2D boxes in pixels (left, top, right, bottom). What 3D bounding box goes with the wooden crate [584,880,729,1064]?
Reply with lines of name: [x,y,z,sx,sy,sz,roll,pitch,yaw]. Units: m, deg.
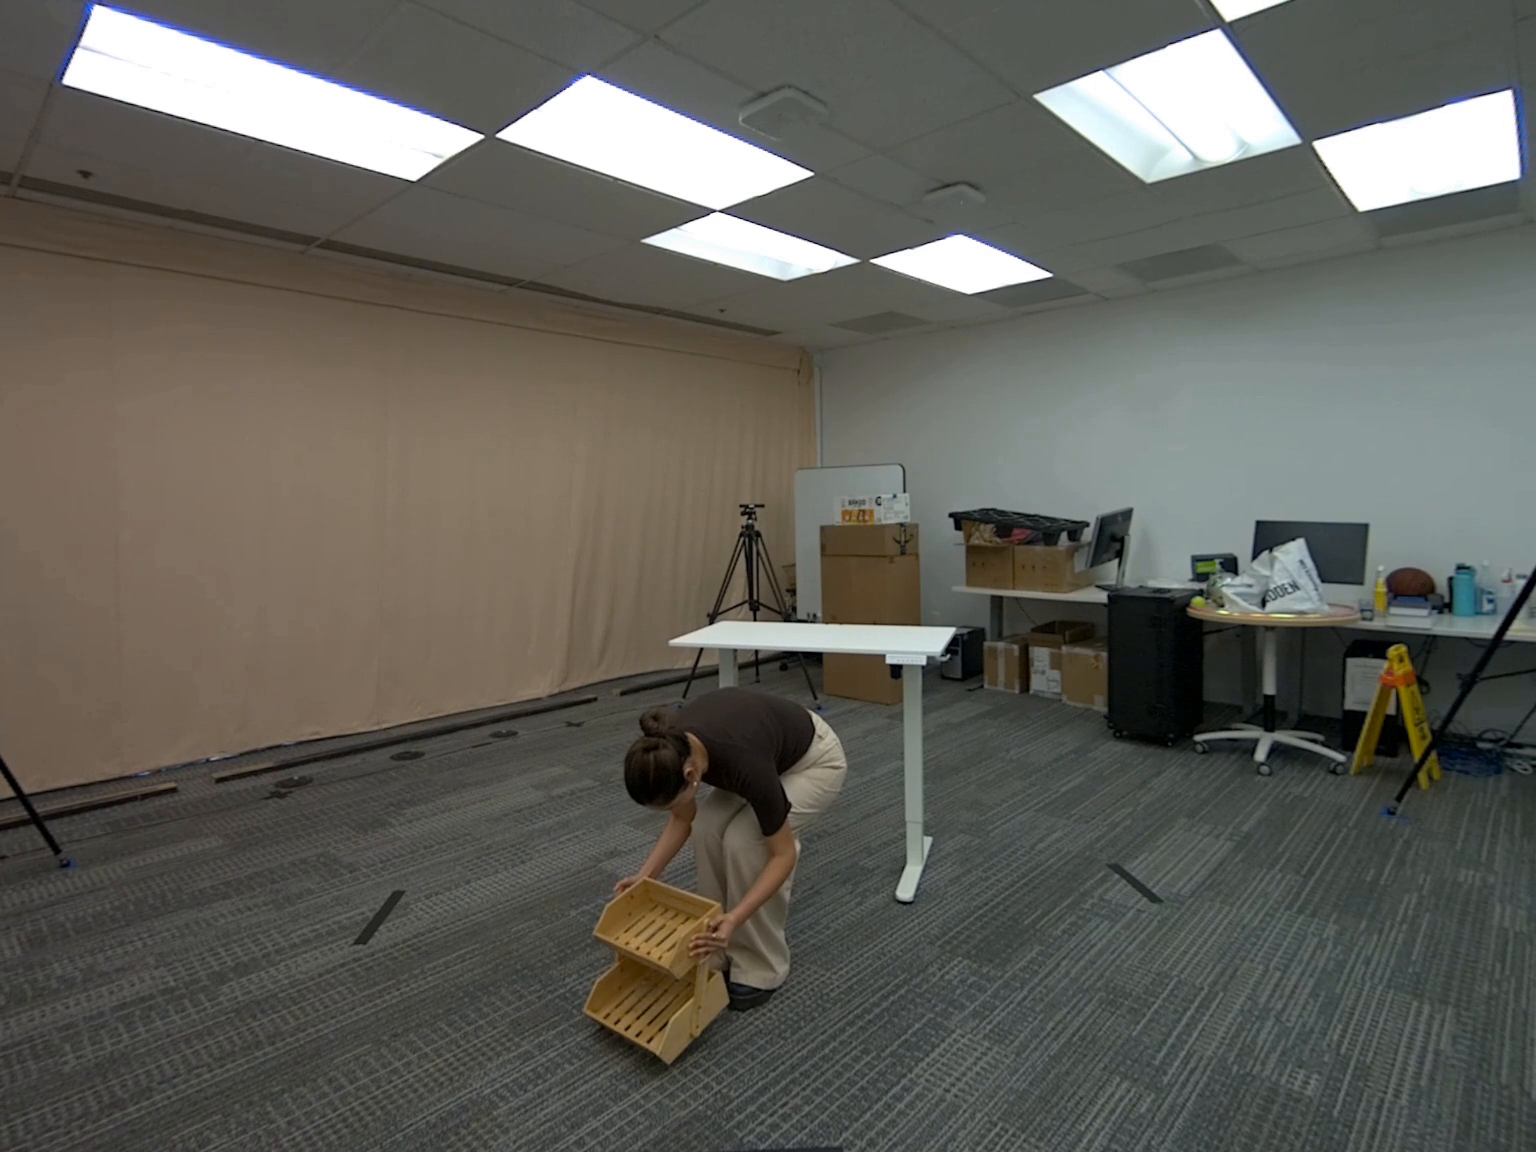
wooden crate: [-0.300,1.025,2.209,0.335,0.271,0.295,-1,16,41]
